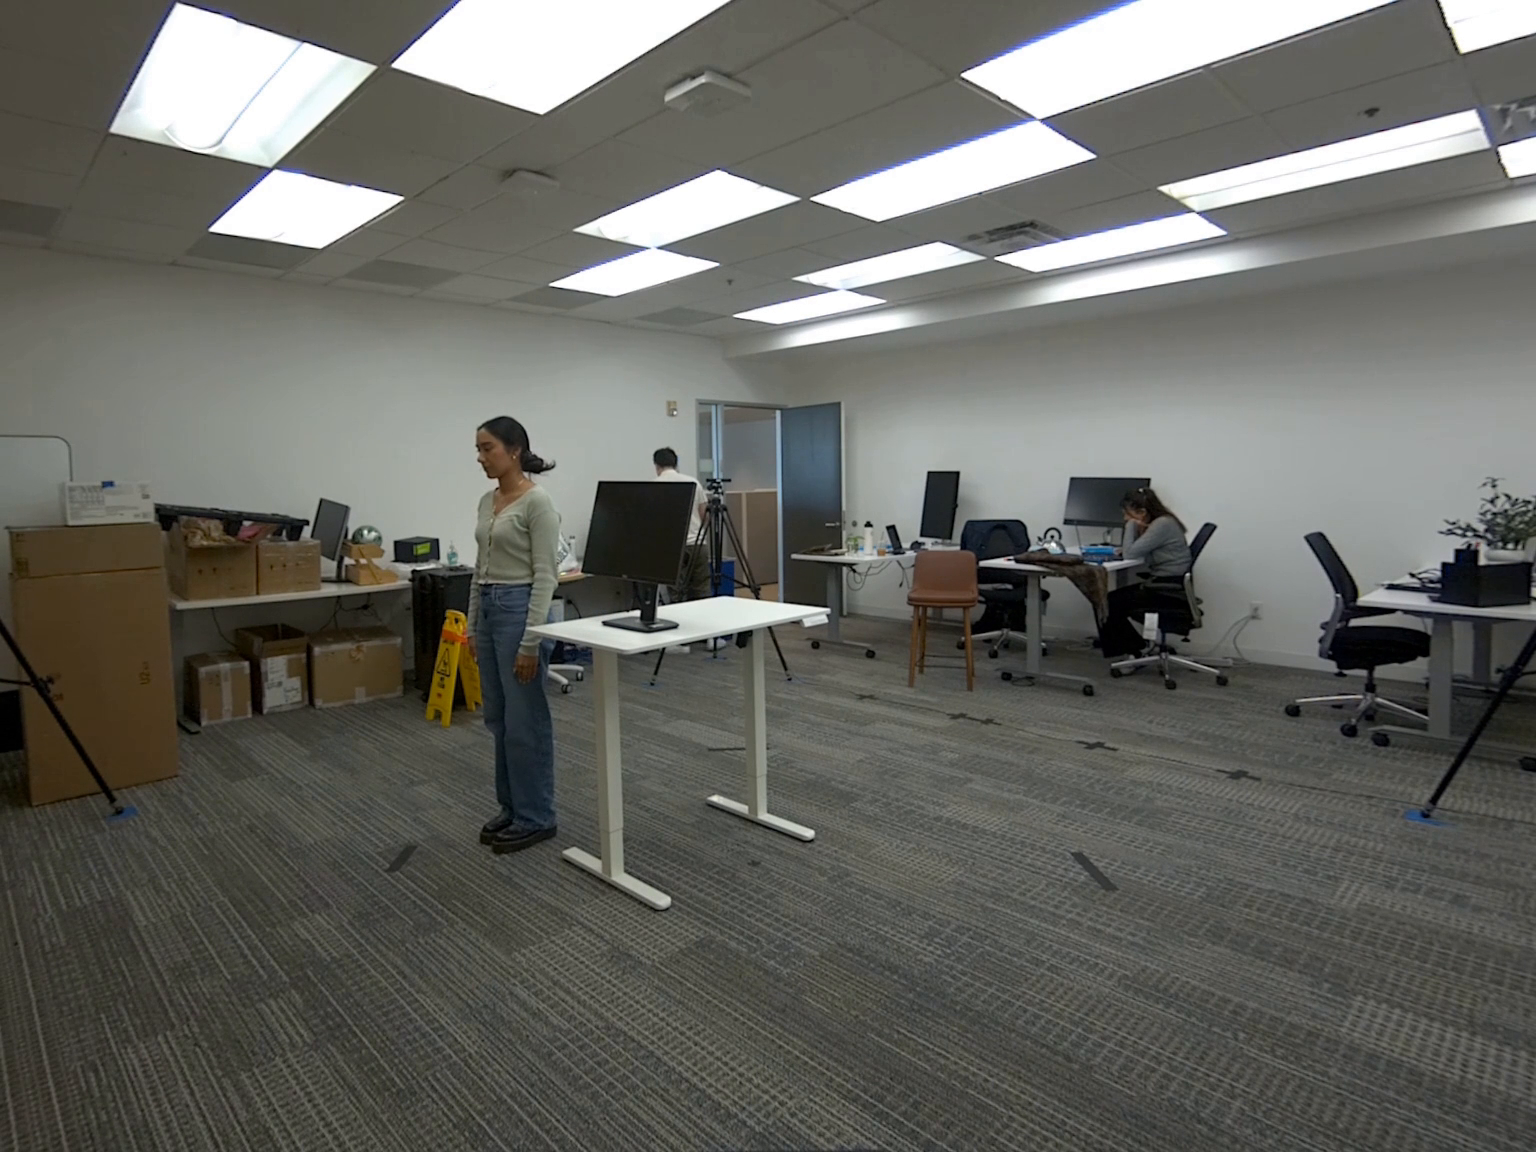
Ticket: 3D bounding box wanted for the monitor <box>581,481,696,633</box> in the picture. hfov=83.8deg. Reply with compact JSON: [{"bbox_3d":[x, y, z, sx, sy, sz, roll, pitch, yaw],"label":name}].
[{"bbox_3d":[-0.437,-0.072,3.034,0.556,0.521,0.182,5,4,44],"label":"monitor"}]
